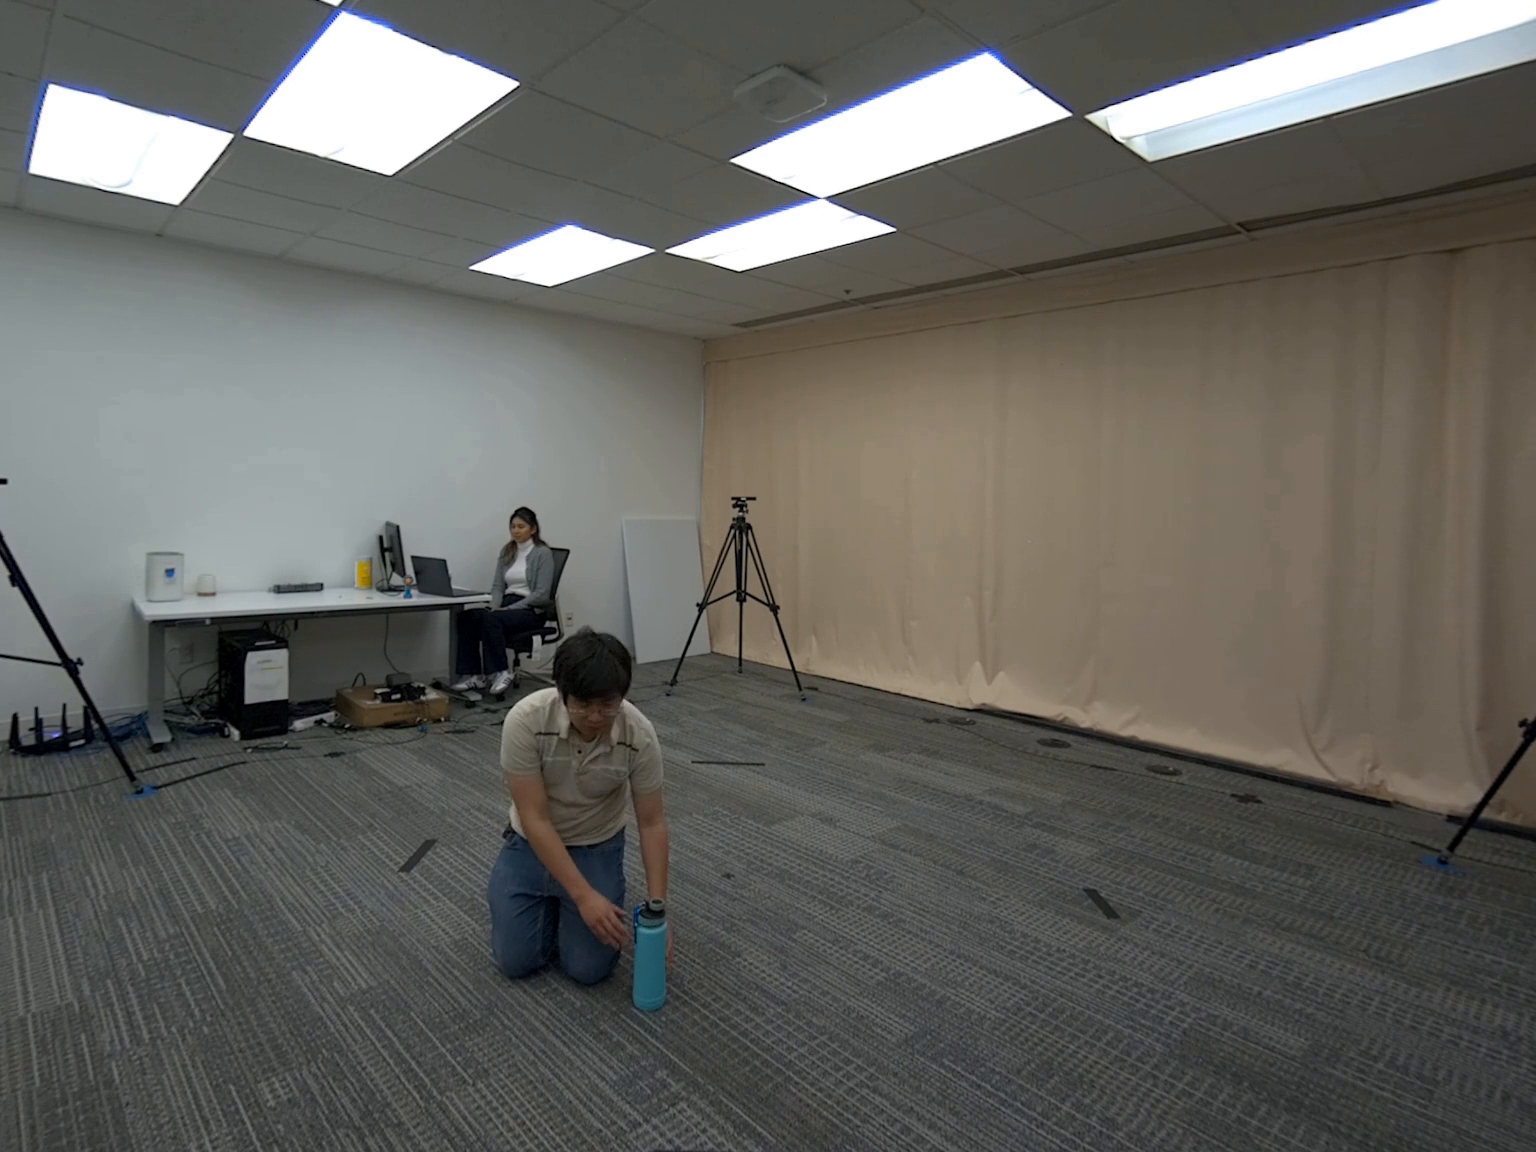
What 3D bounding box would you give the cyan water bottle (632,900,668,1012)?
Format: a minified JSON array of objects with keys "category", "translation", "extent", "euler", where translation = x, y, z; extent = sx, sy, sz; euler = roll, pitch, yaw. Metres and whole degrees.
[{"category":"cyan water bottle","translation":[-0.341,1.042,2.306],"extent":[0.092,0.282,0.093],"euler":[0,5,-1]}]
